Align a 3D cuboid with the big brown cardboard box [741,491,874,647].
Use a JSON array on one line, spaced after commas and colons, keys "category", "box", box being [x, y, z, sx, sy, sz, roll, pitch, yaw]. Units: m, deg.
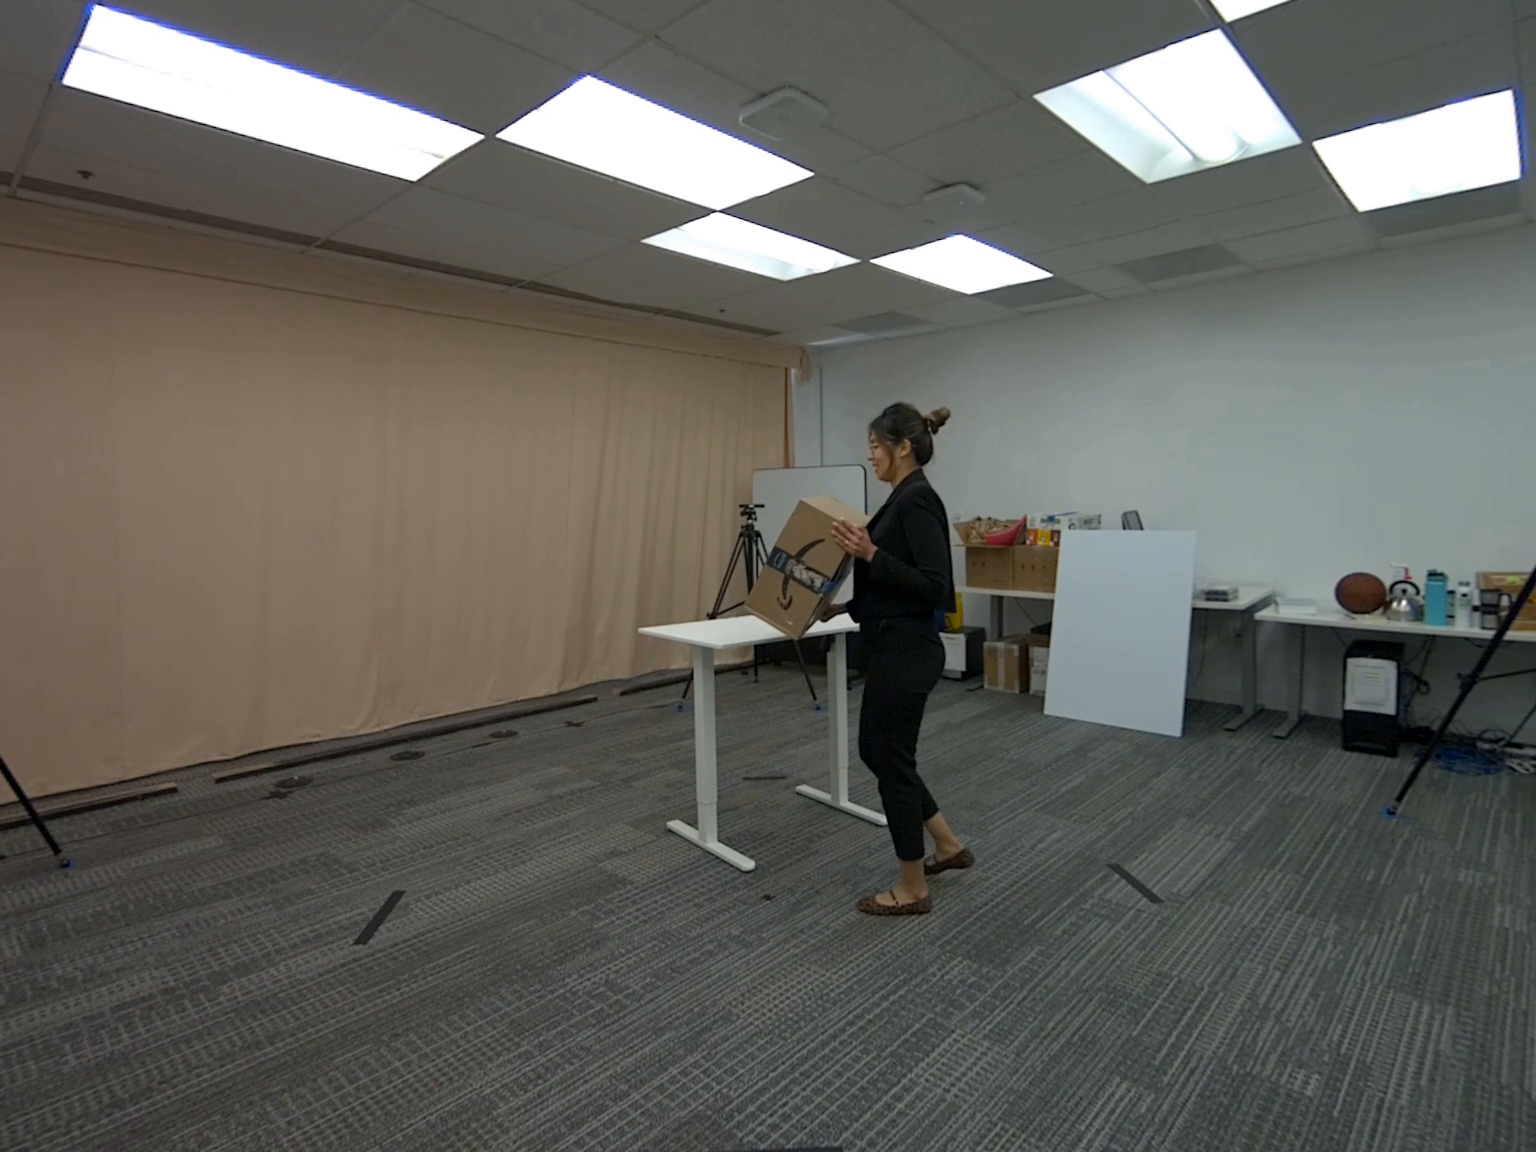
[{"category": "big brown cardboard box", "box": [0.169, -0.051, 2.989, 0.236, 0.417, 0.582, 29, 13, 8]}]
